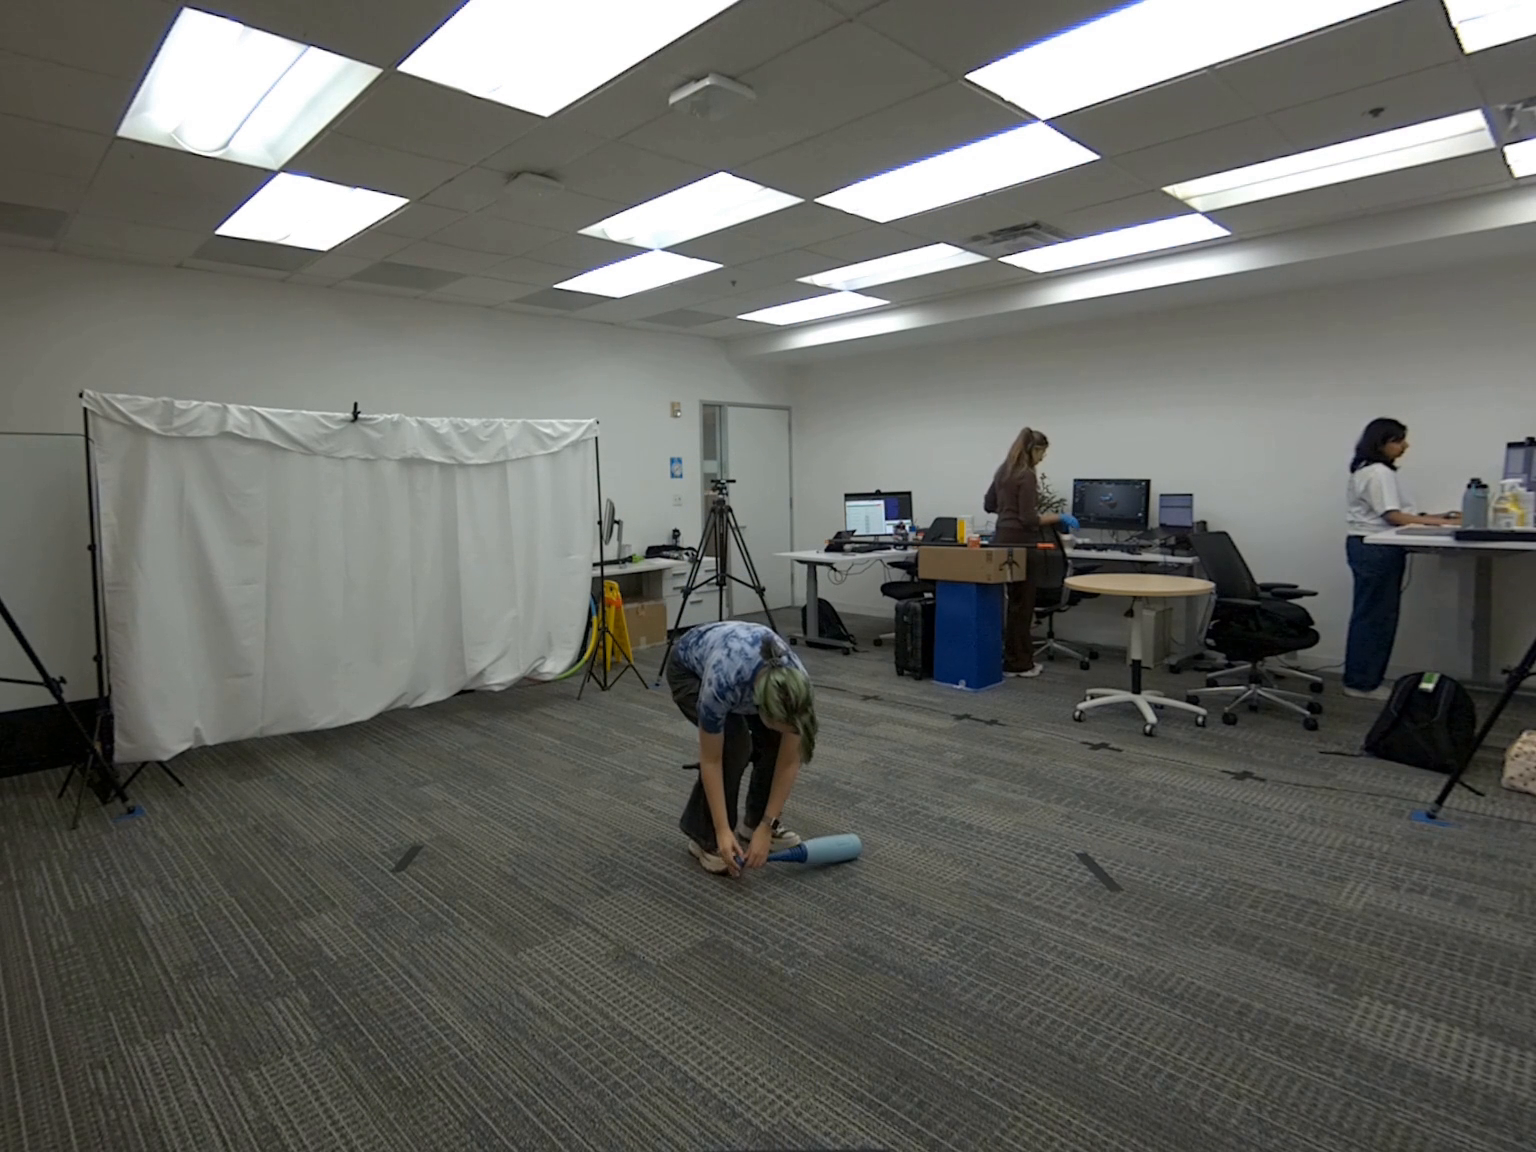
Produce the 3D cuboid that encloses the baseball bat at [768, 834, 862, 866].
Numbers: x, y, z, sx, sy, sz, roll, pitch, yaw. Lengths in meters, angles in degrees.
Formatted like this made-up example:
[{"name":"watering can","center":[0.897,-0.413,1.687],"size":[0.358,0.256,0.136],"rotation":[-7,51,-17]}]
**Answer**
[{"name":"baseball bat","center":[0.100,0.974,3.016],"size":[0.529,0.089,0.091],"rotation":[2,2,-30]}]
